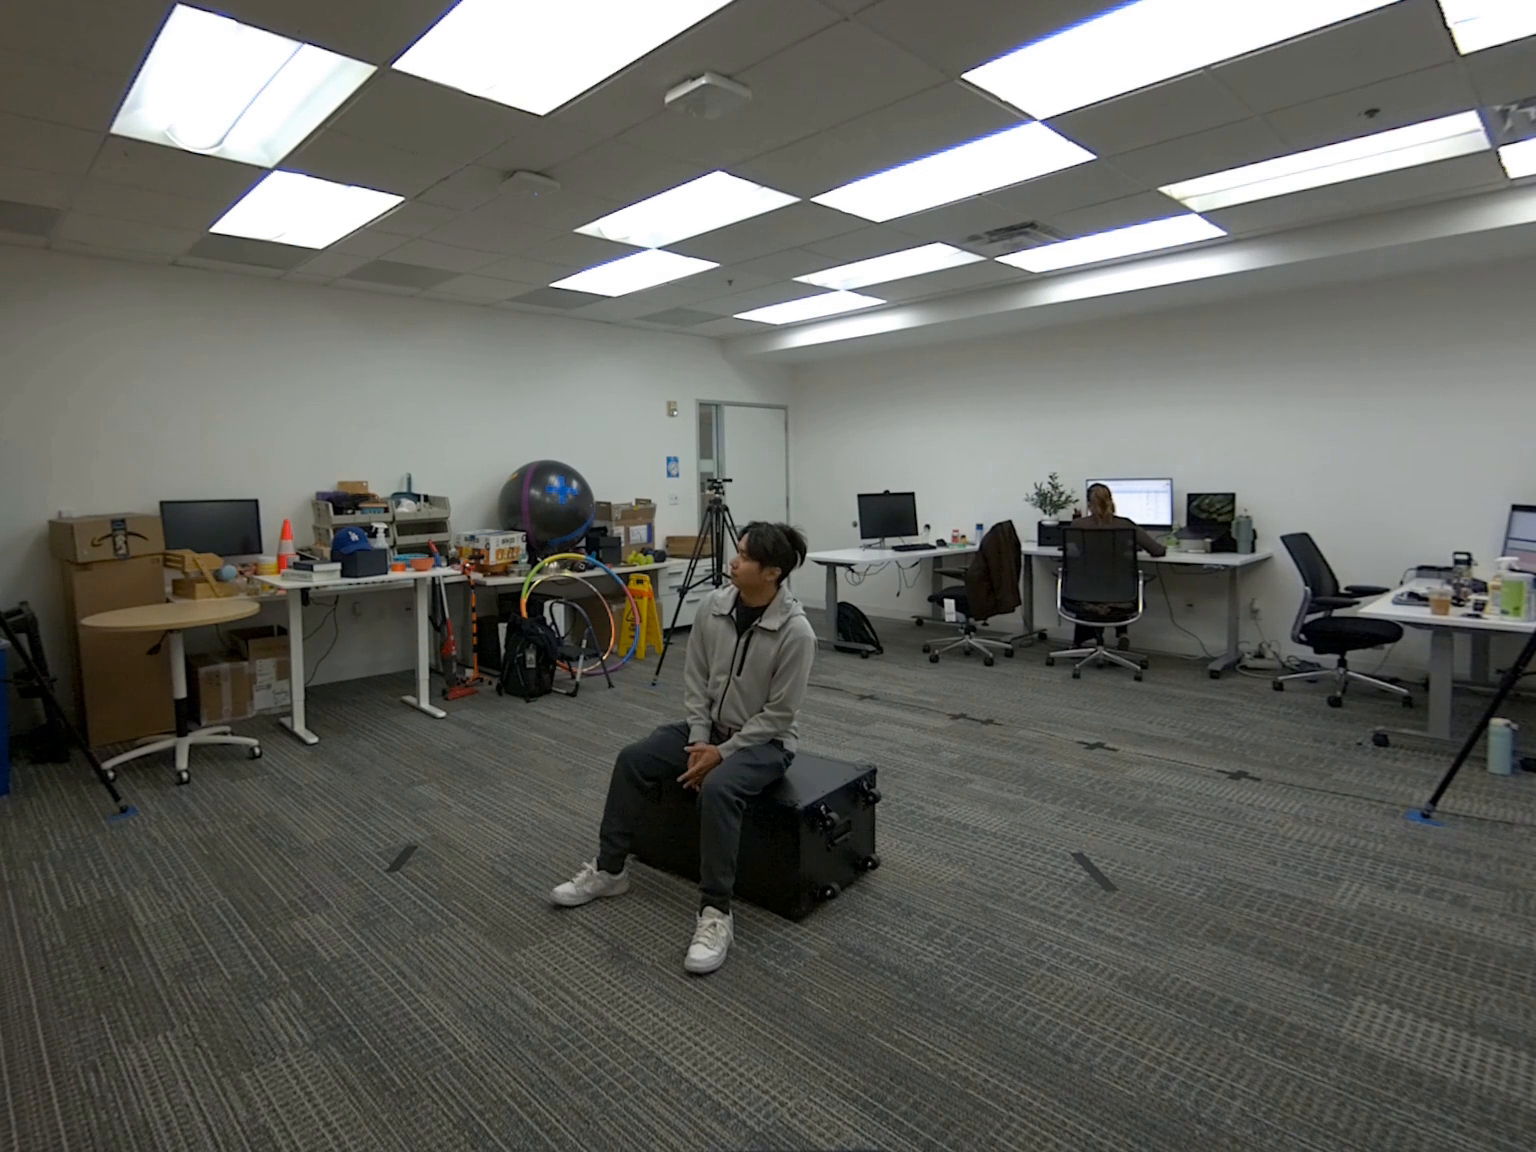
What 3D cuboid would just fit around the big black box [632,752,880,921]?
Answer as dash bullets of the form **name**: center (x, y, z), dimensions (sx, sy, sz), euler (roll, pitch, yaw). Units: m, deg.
- **big black box**: center (-0.090, 0.862, 3.115), dimensions (0.887, 0.394, 0.508), euler (4, 7, 38)
